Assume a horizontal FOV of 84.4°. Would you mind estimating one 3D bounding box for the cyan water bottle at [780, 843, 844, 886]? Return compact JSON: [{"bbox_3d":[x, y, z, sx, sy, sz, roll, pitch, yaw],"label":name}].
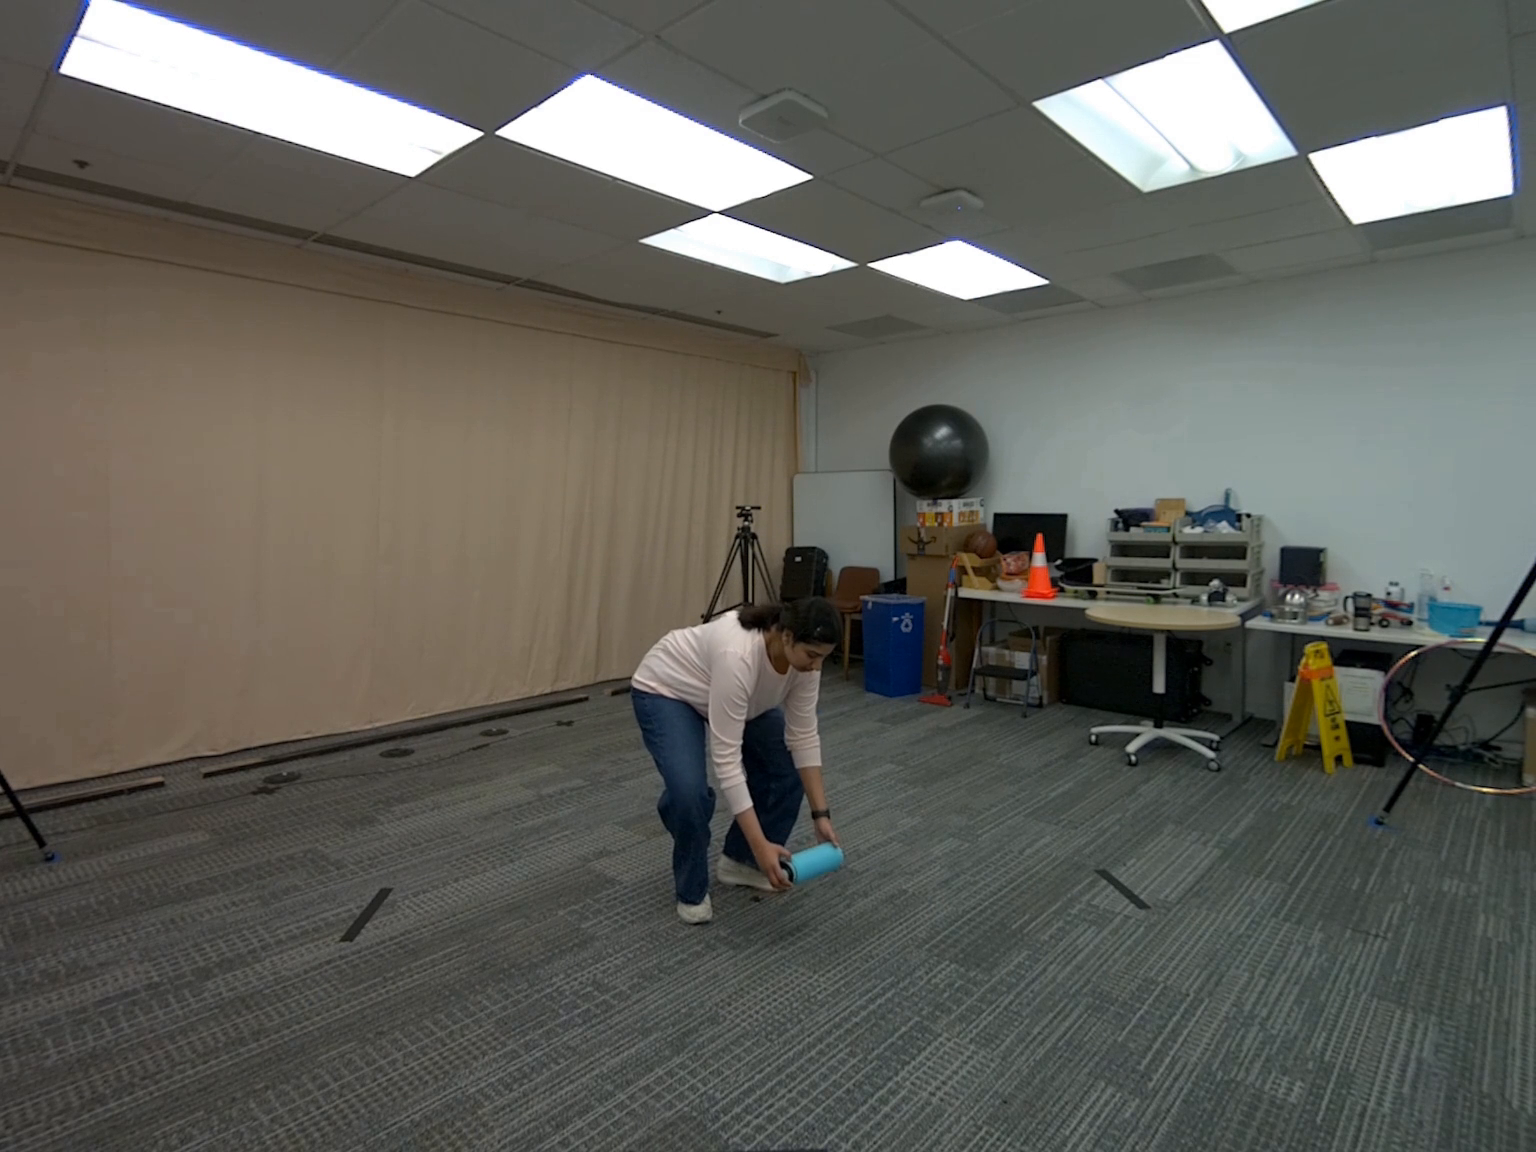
[{"bbox_3d":[0.118,0.912,2.667,0.095,0.092,0.274,3,4,41],"label":"cyan water bottle"}]
